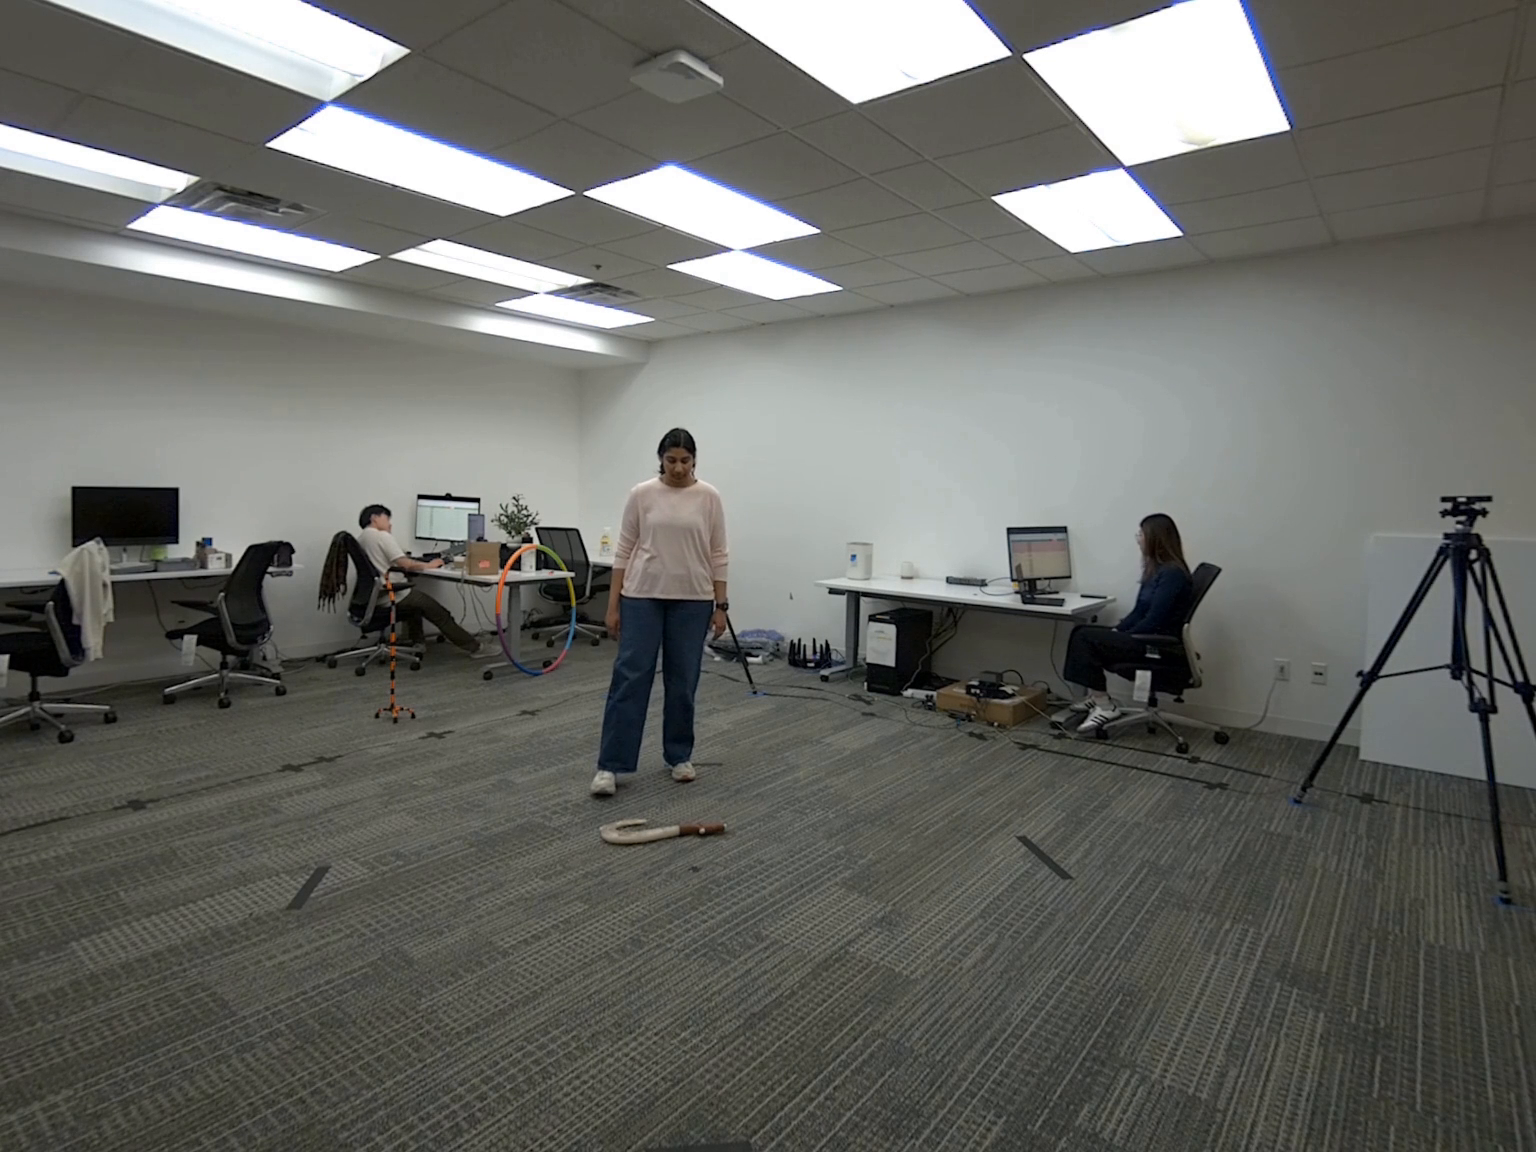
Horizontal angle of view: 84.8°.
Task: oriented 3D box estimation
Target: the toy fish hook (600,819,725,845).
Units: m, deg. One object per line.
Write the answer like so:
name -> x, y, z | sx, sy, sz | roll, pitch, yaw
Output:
toy fish hook -> -0.426, 1.006, 3.432 | 0.499, 0.048, 0.229 | 0, 7, -14
